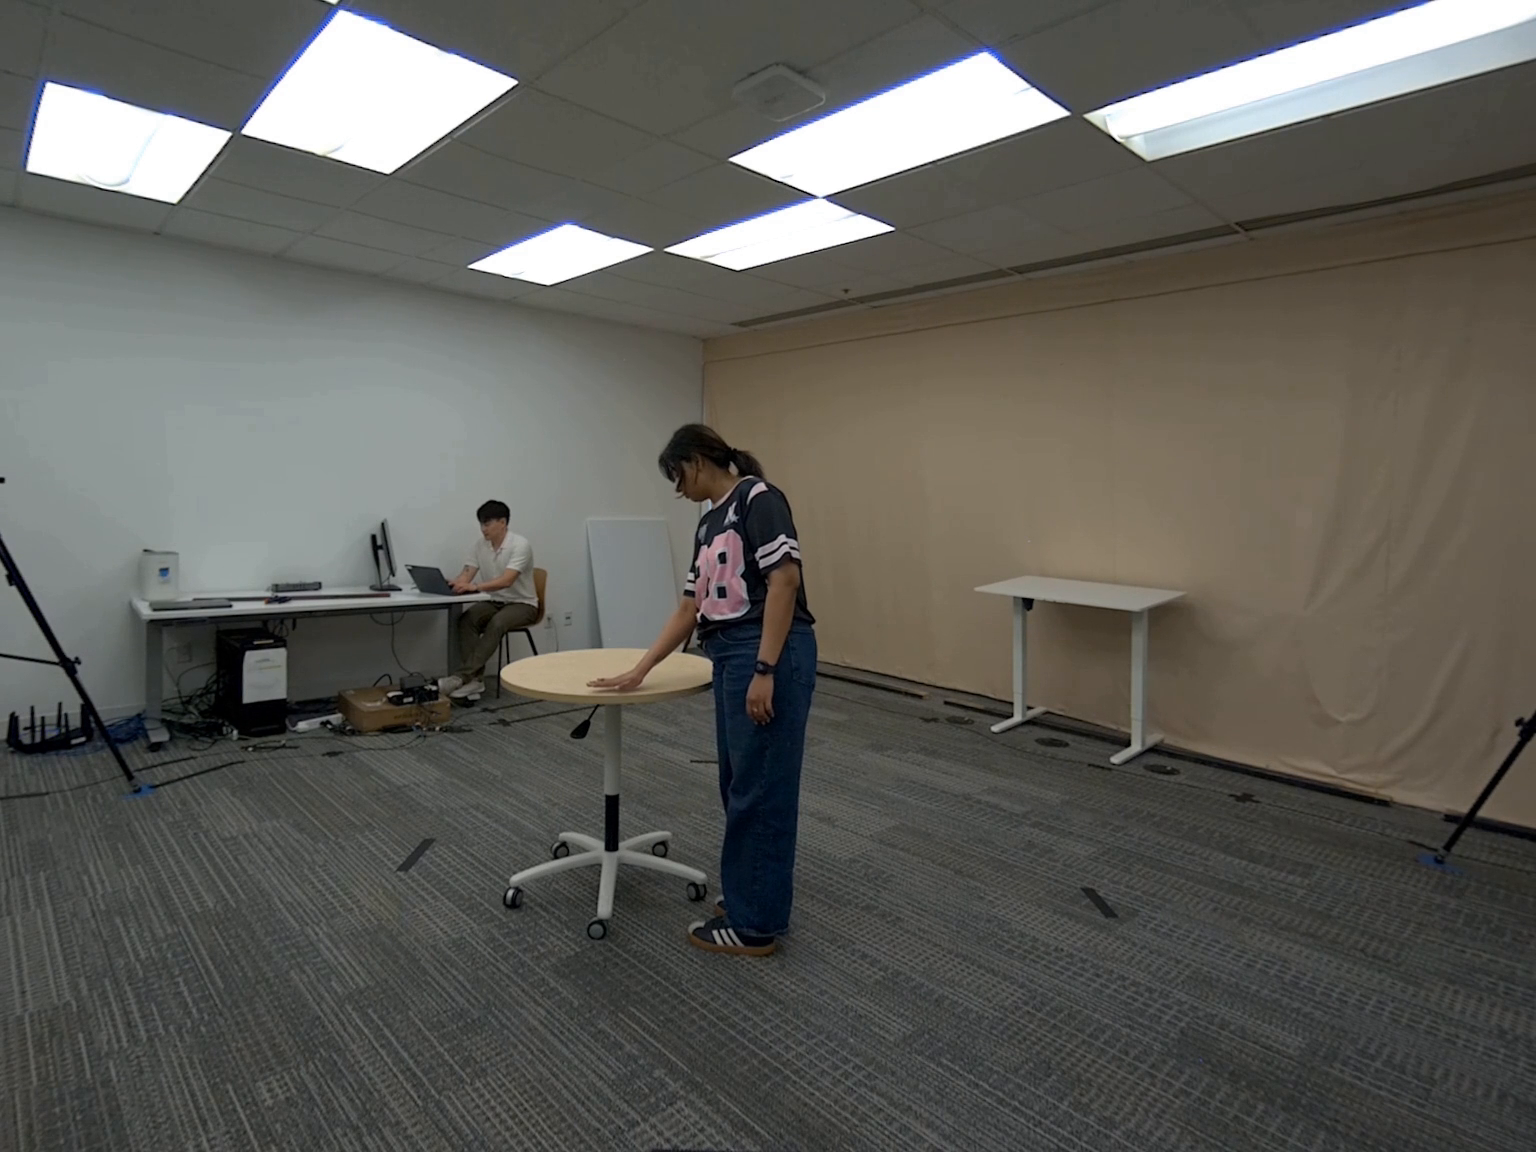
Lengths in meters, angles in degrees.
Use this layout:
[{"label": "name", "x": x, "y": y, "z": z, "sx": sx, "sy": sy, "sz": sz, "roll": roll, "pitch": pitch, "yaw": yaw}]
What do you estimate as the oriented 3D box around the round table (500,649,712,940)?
[{"label": "round table", "x": -0.561, "y": 0.718, "z": 2.947, "sx": 0.784, "sy": 0.784, "sz": 0.788, "roll": 1, "pitch": 4, "yaw": -1}]
